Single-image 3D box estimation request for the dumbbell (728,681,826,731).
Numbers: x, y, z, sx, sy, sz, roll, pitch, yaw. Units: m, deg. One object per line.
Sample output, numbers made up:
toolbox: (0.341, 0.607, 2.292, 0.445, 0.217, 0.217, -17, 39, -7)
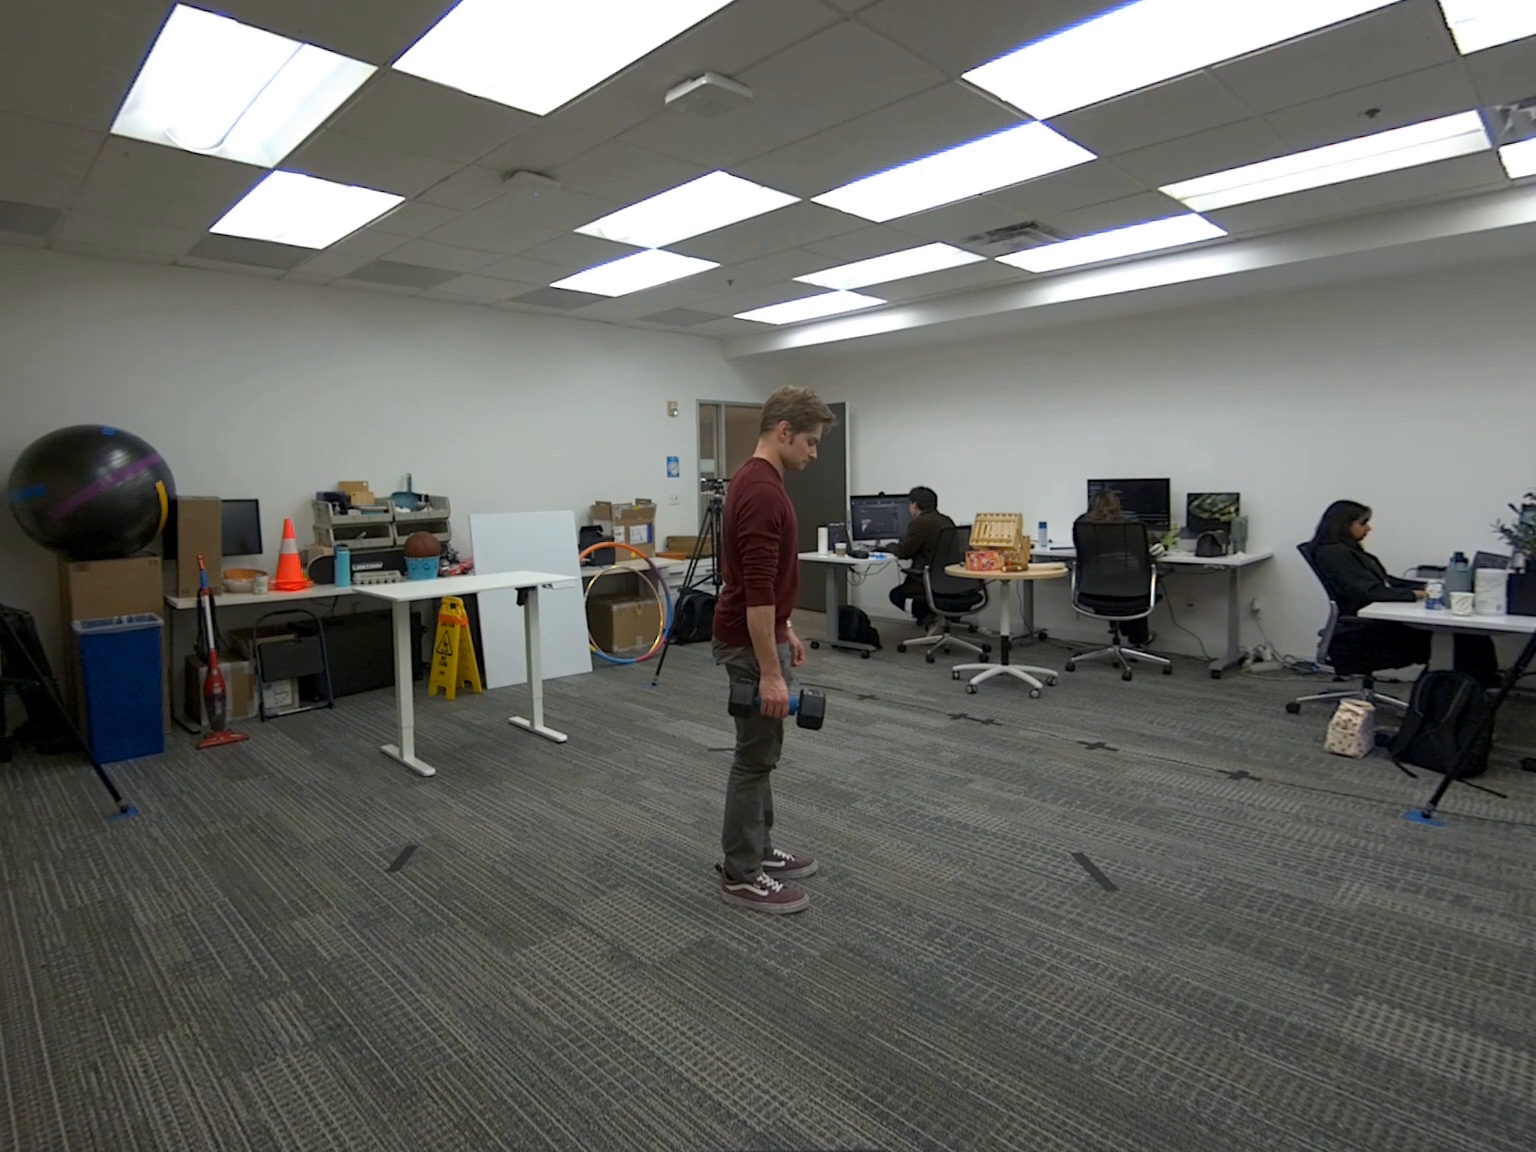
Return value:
dumbbell: (0.035, 0.393, 2.617, 0.295, 0.125, 0.106, 7, -22, 5)
